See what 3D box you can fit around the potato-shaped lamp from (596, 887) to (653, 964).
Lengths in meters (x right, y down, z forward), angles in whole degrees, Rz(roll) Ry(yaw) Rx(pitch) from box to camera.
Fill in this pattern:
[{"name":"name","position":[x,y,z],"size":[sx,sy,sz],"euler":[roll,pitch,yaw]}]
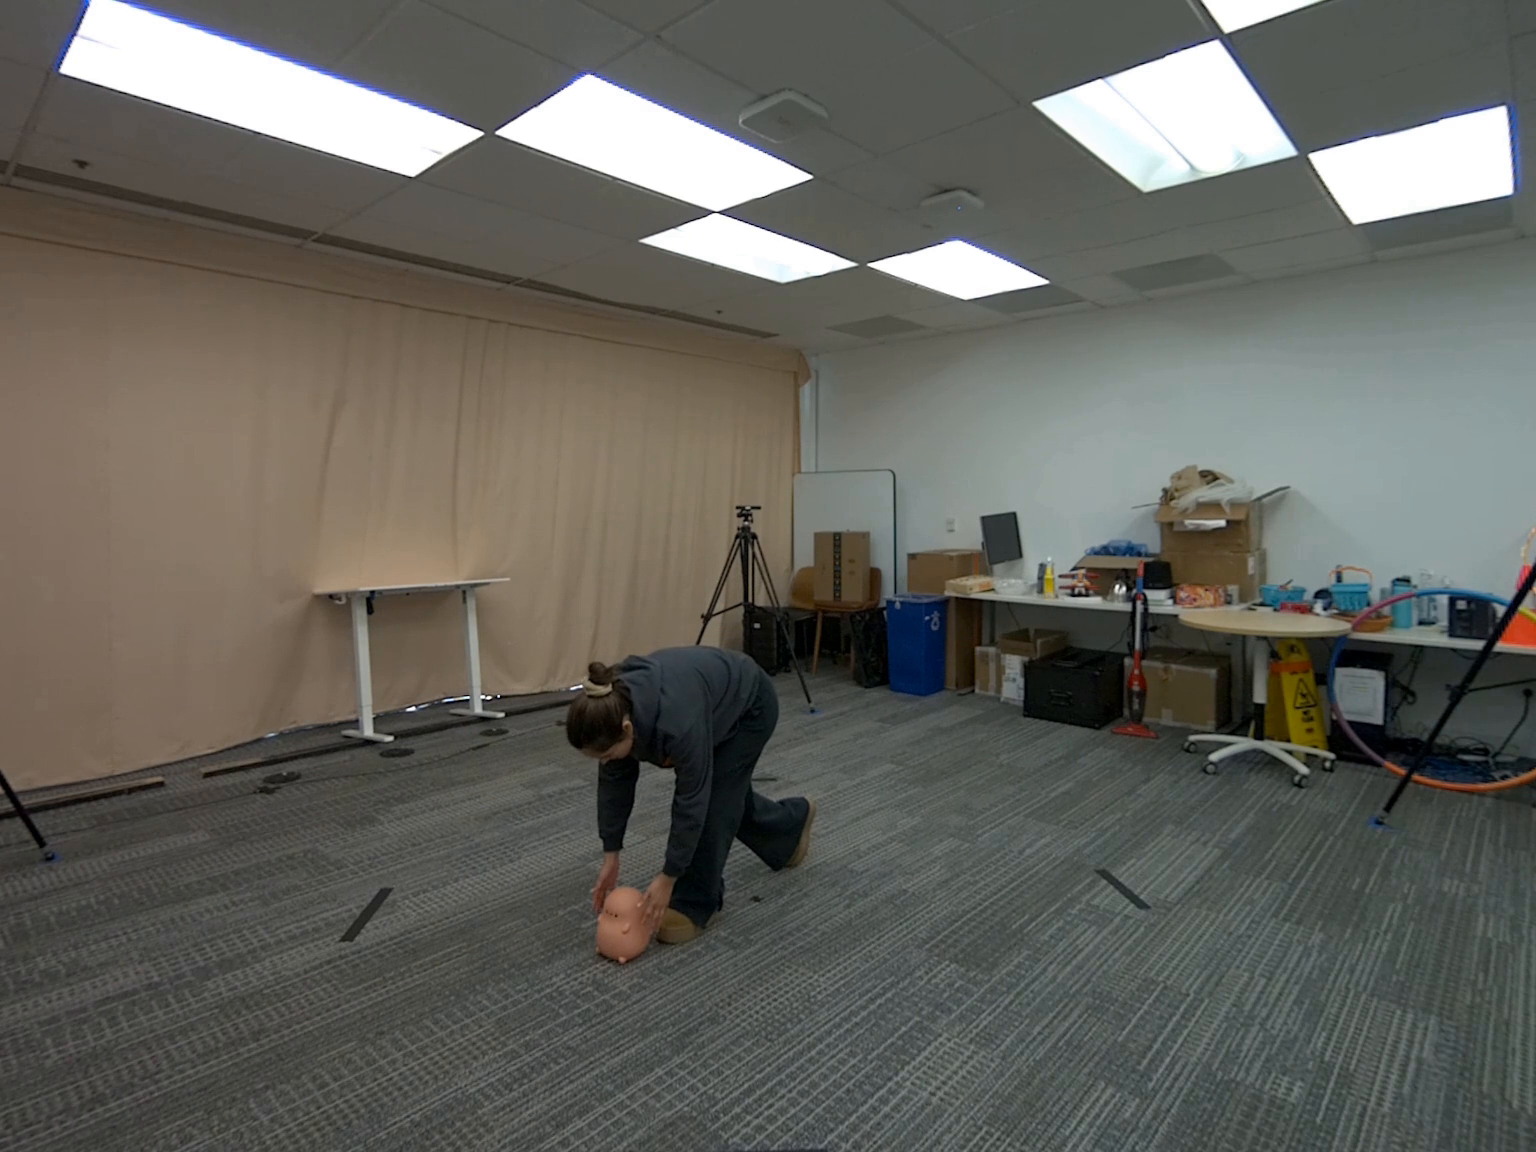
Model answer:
[{"name":"potato-shaped lamp","position":[-0.429,1.079,2.635],"size":[0.170,0.198,0.166],"euler":[1,-1,34]}]
